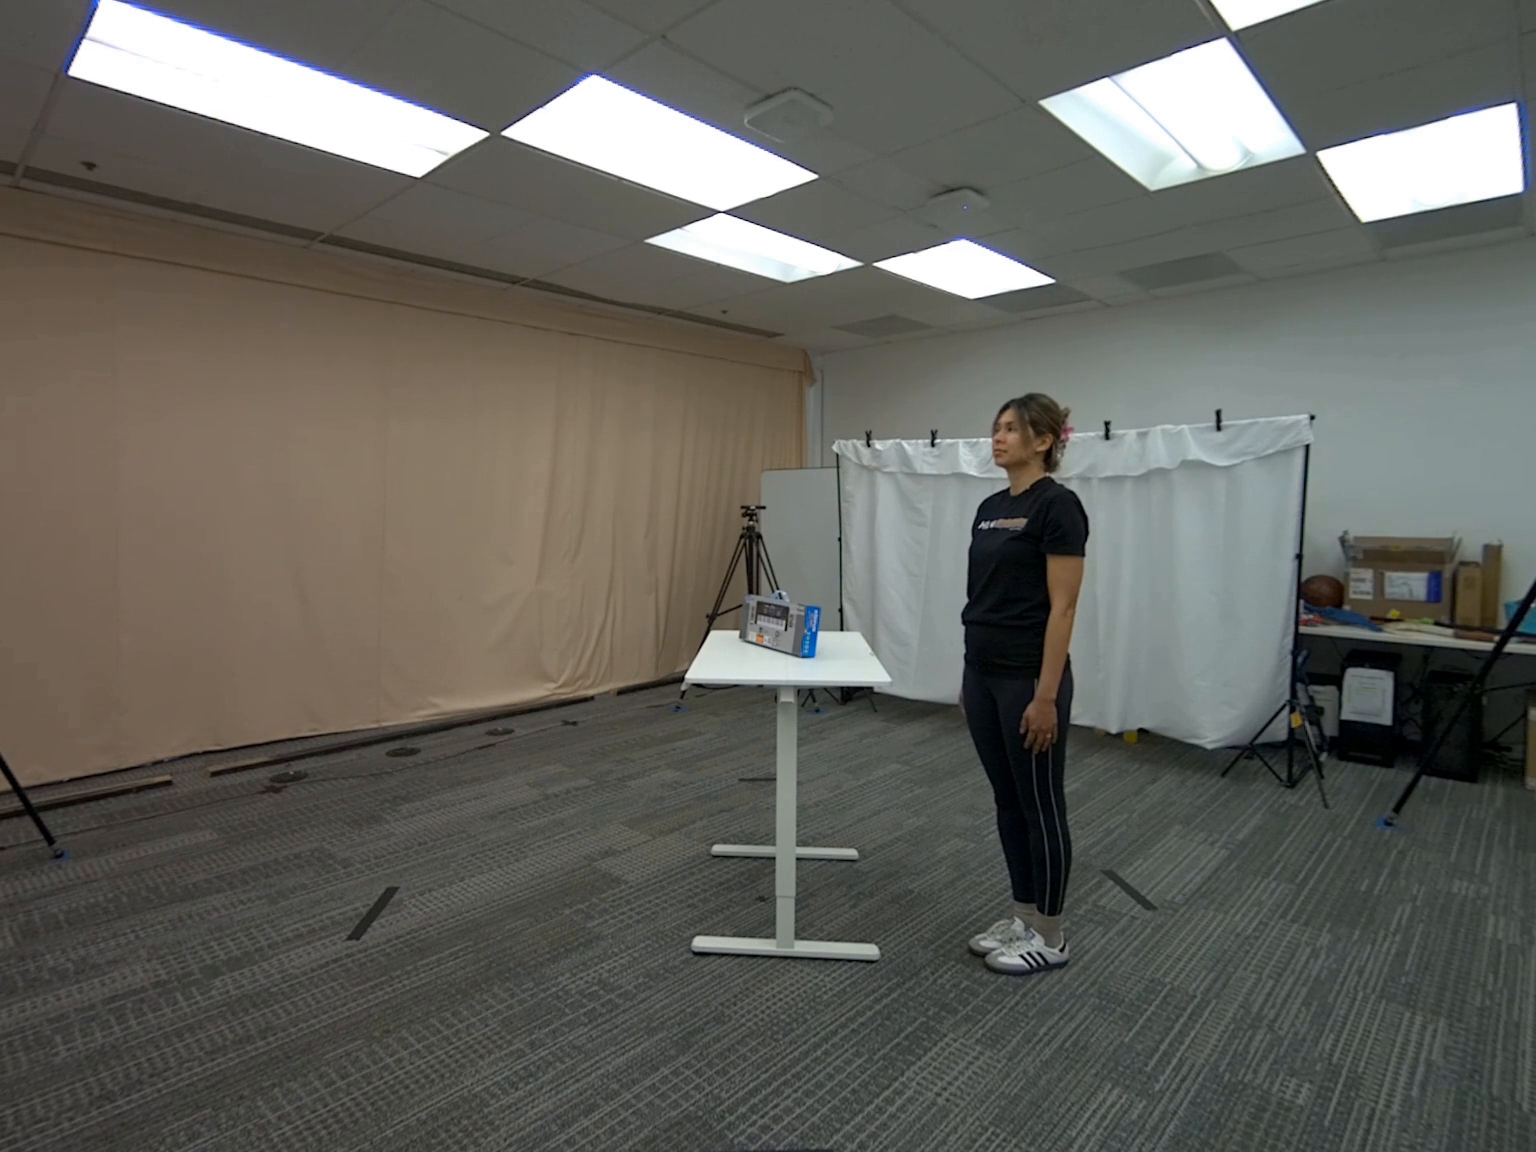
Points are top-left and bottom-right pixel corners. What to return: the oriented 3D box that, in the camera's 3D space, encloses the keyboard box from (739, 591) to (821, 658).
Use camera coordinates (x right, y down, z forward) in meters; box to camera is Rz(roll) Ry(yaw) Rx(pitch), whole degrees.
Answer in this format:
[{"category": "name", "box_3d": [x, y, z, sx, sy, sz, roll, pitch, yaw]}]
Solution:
[{"category": "keyboard box", "box_3d": [0.037, 0.172, 2.998, 0.057, 0.176, 0.449, 6, 1, -30]}]
